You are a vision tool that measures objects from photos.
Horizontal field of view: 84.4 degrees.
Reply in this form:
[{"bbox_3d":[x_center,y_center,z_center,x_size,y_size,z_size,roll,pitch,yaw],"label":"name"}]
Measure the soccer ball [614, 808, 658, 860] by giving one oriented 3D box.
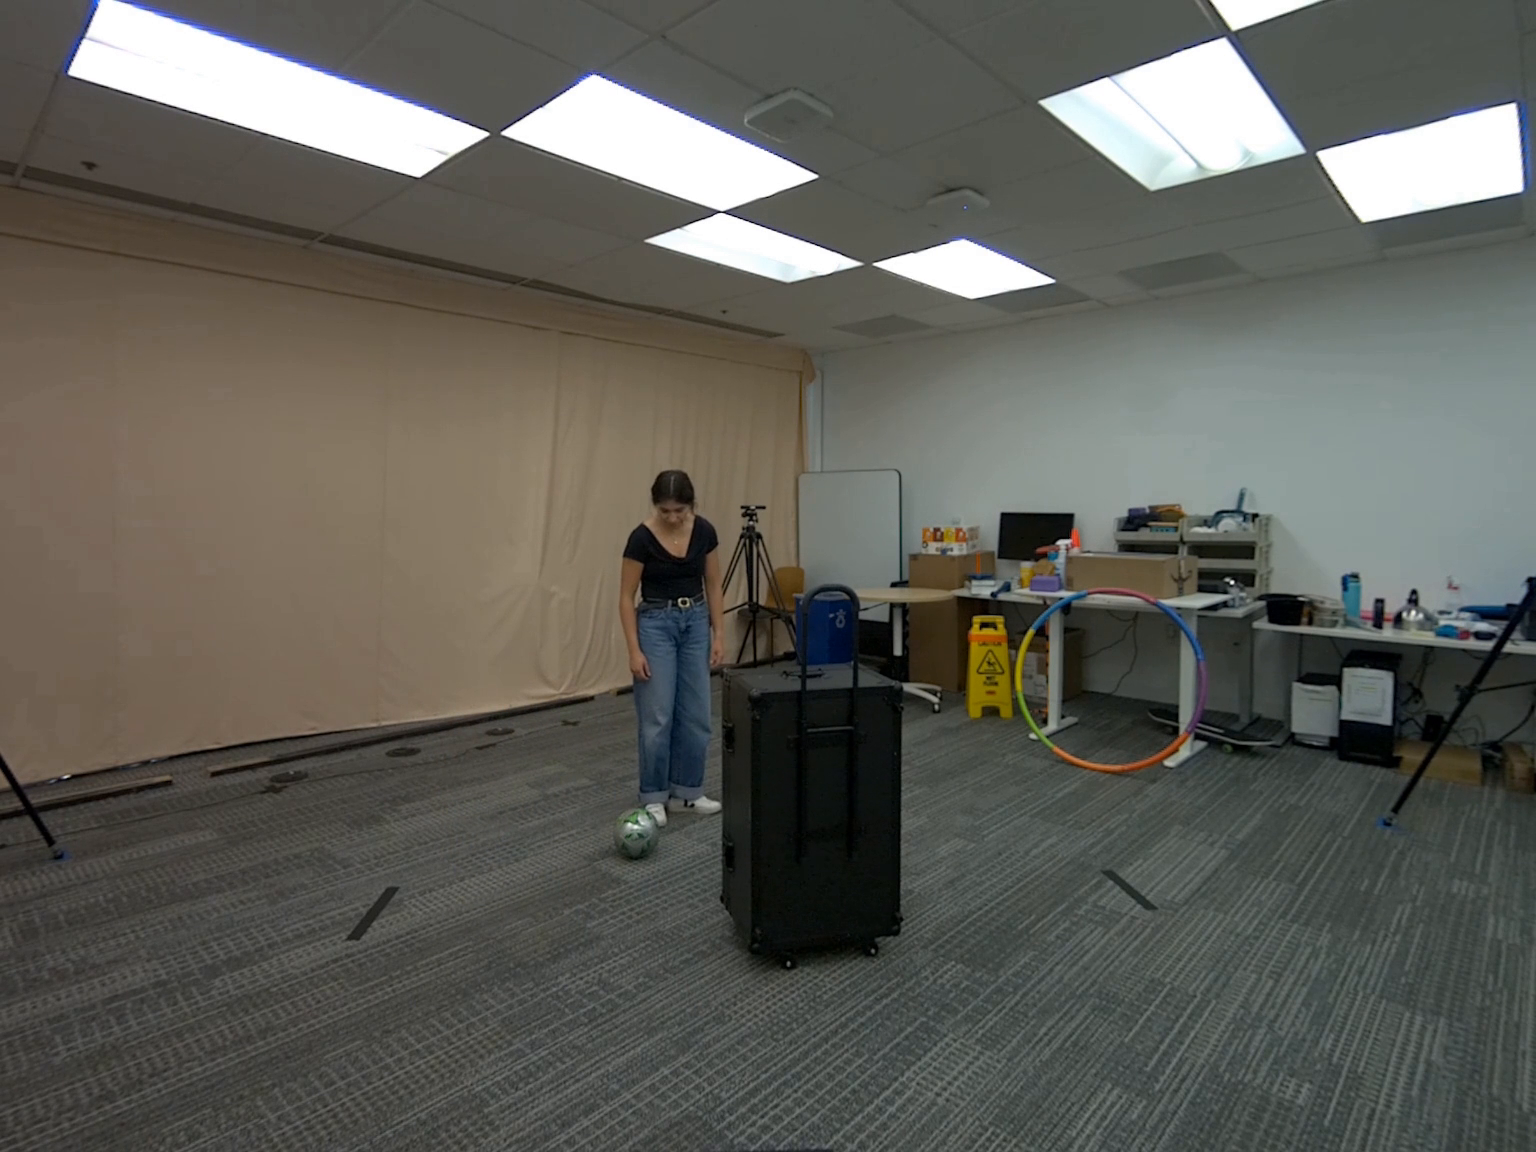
[{"bbox_3d":[-0.526,1.019,3.355,0.187,0.187,0.188,0,4,-2],"label":"soccer ball"}]
